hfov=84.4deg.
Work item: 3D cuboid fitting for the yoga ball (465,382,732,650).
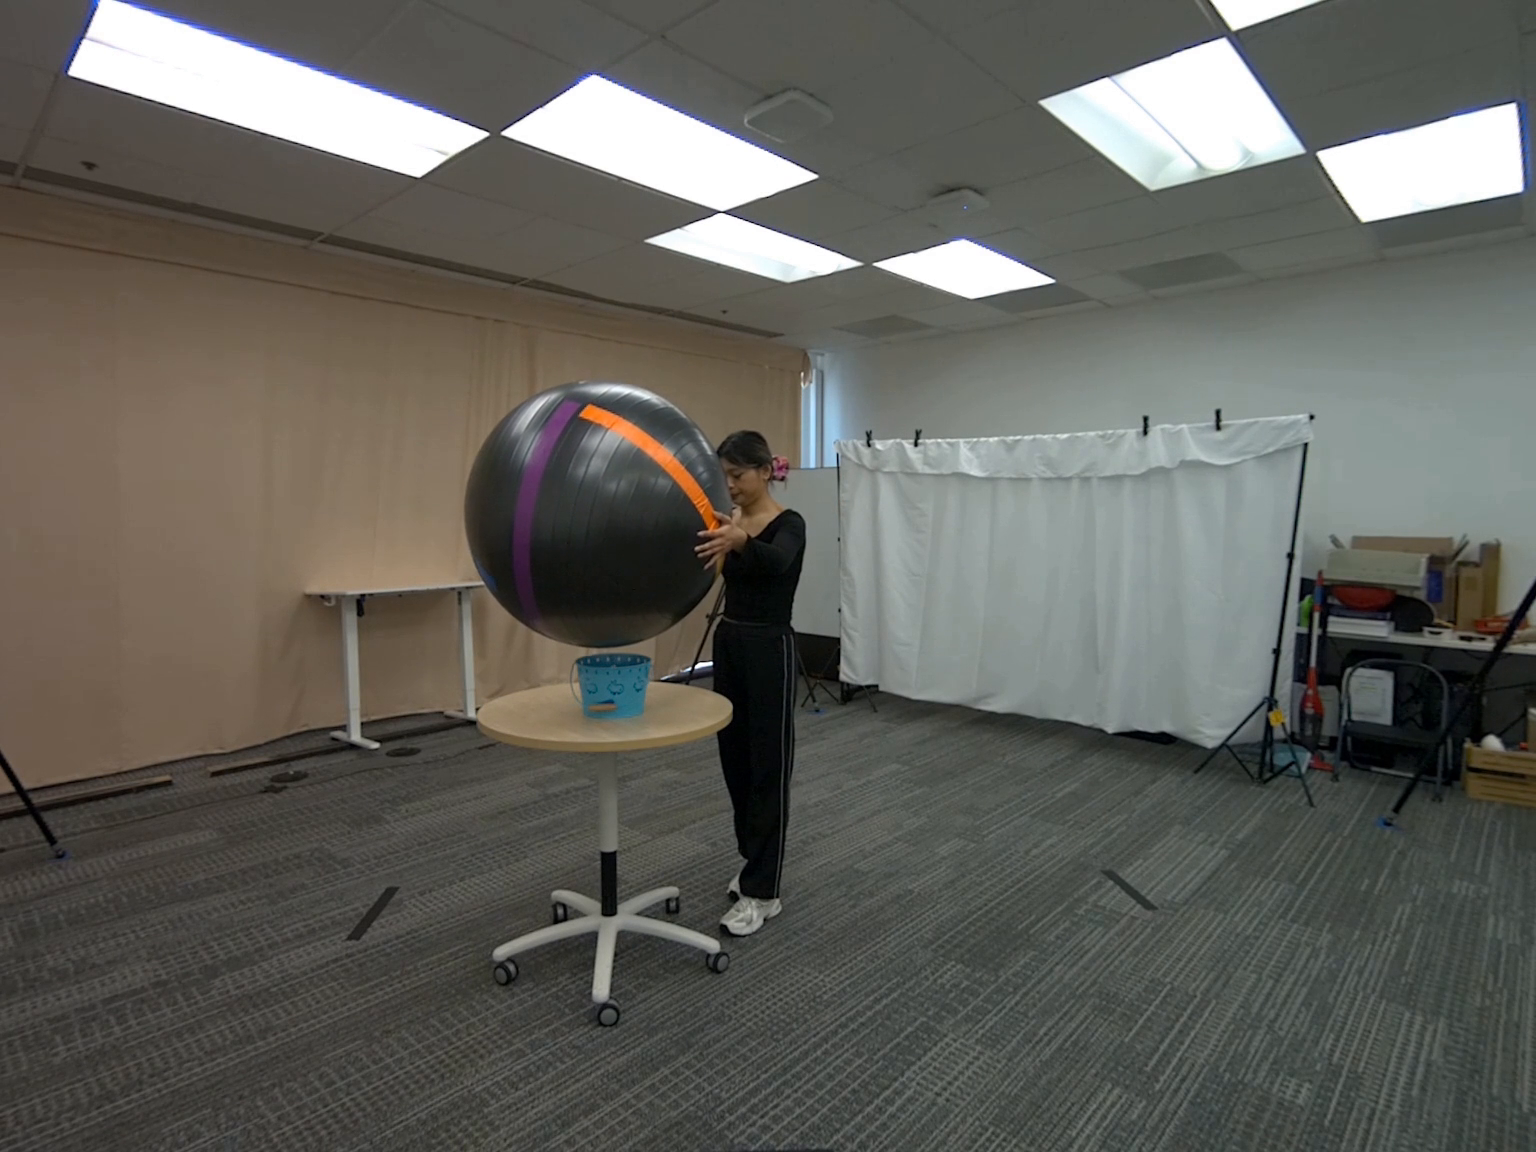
[{"bbox_3d":[-0.491,-0.172,2.405,0.757,0.756,0.760,0,4,-2],"label":"yoga ball"}]
